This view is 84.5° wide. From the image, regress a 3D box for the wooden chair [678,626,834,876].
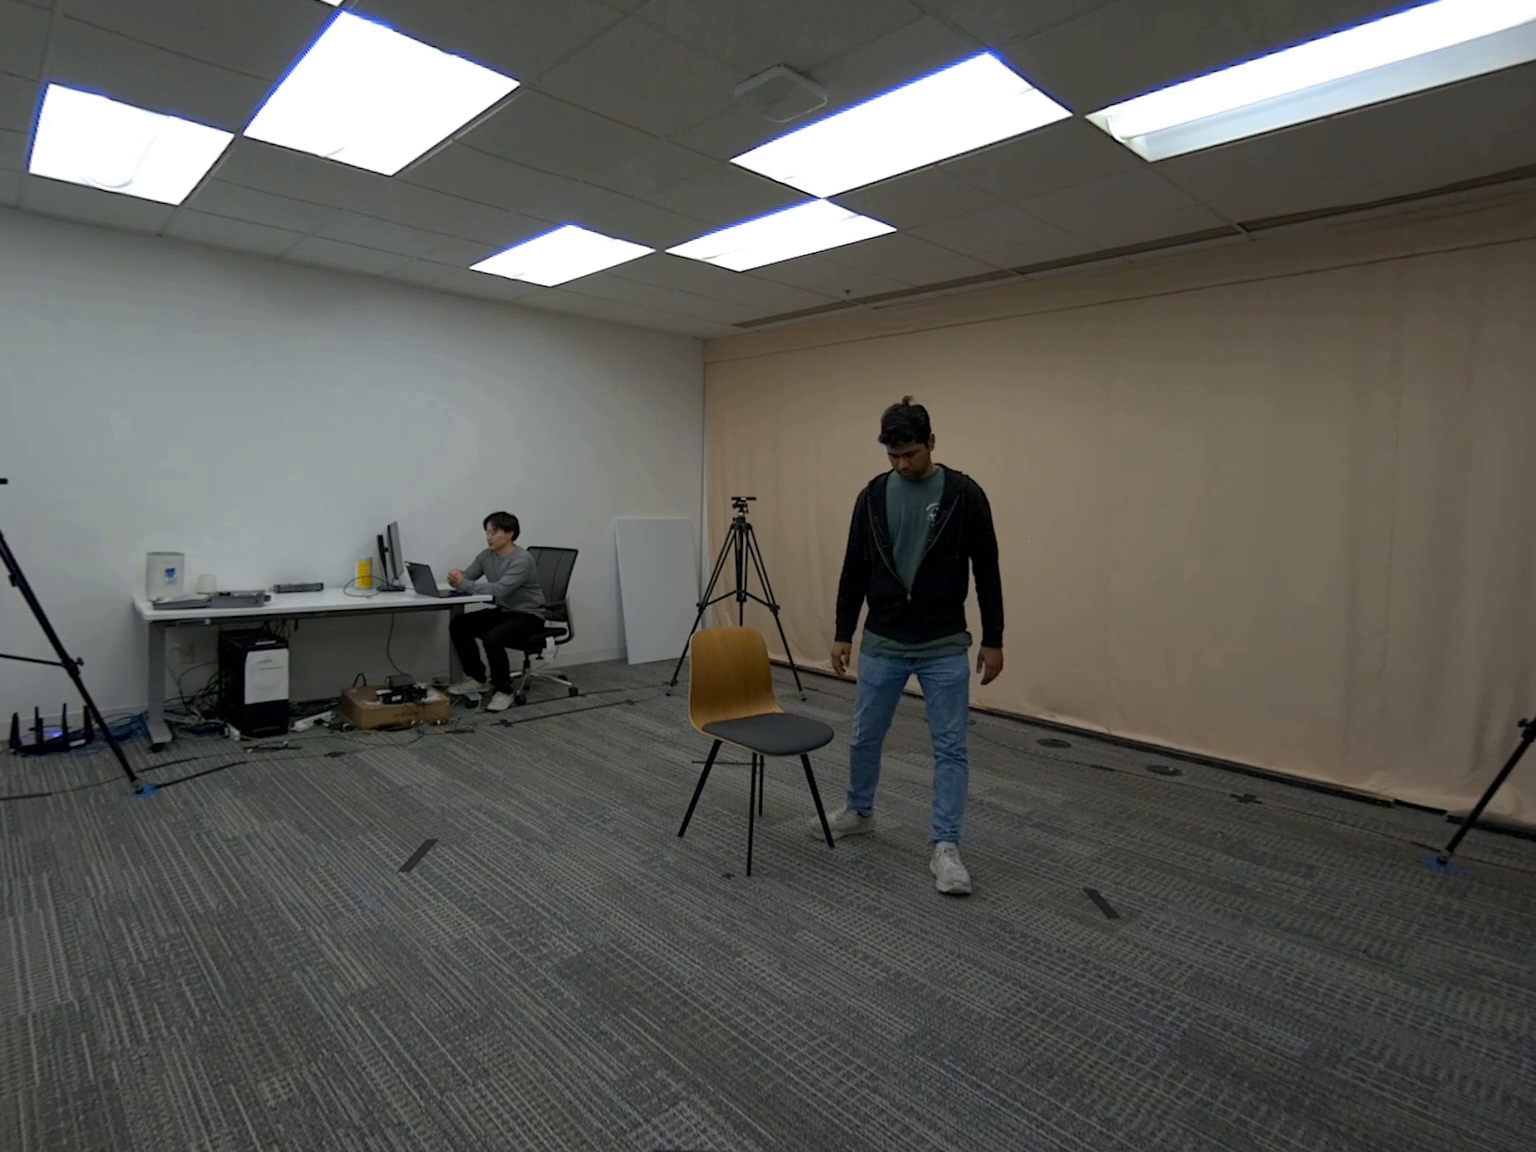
[{"bbox_3d":[-0.038,0.656,3.375,0.467,0.878,0.535,-1,-1,-39],"label":"wooden chair"}]
